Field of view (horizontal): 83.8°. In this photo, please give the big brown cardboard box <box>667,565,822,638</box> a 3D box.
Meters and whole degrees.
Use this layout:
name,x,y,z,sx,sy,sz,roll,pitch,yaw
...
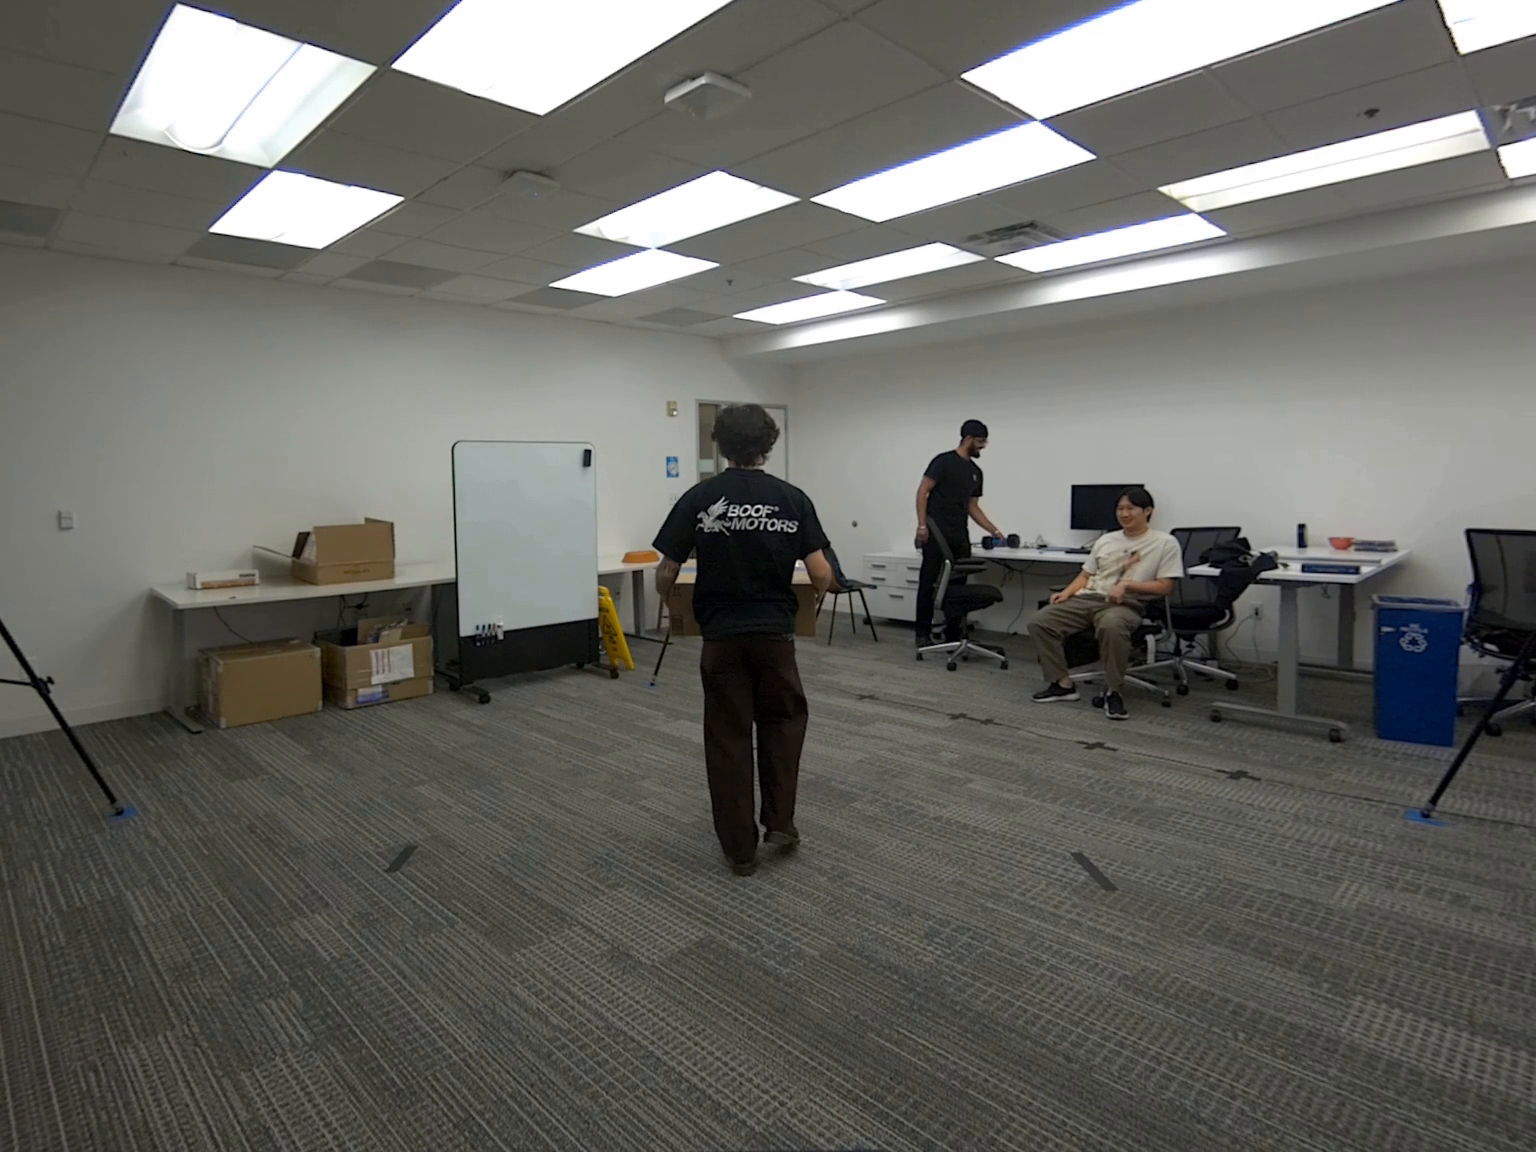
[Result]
name,x,y,z,sx,sy,sz,roll,pitch,yaw
big brown cardboard box,-0.088,0.084,3.467,0.589,0.231,0.421,-1,11,0
